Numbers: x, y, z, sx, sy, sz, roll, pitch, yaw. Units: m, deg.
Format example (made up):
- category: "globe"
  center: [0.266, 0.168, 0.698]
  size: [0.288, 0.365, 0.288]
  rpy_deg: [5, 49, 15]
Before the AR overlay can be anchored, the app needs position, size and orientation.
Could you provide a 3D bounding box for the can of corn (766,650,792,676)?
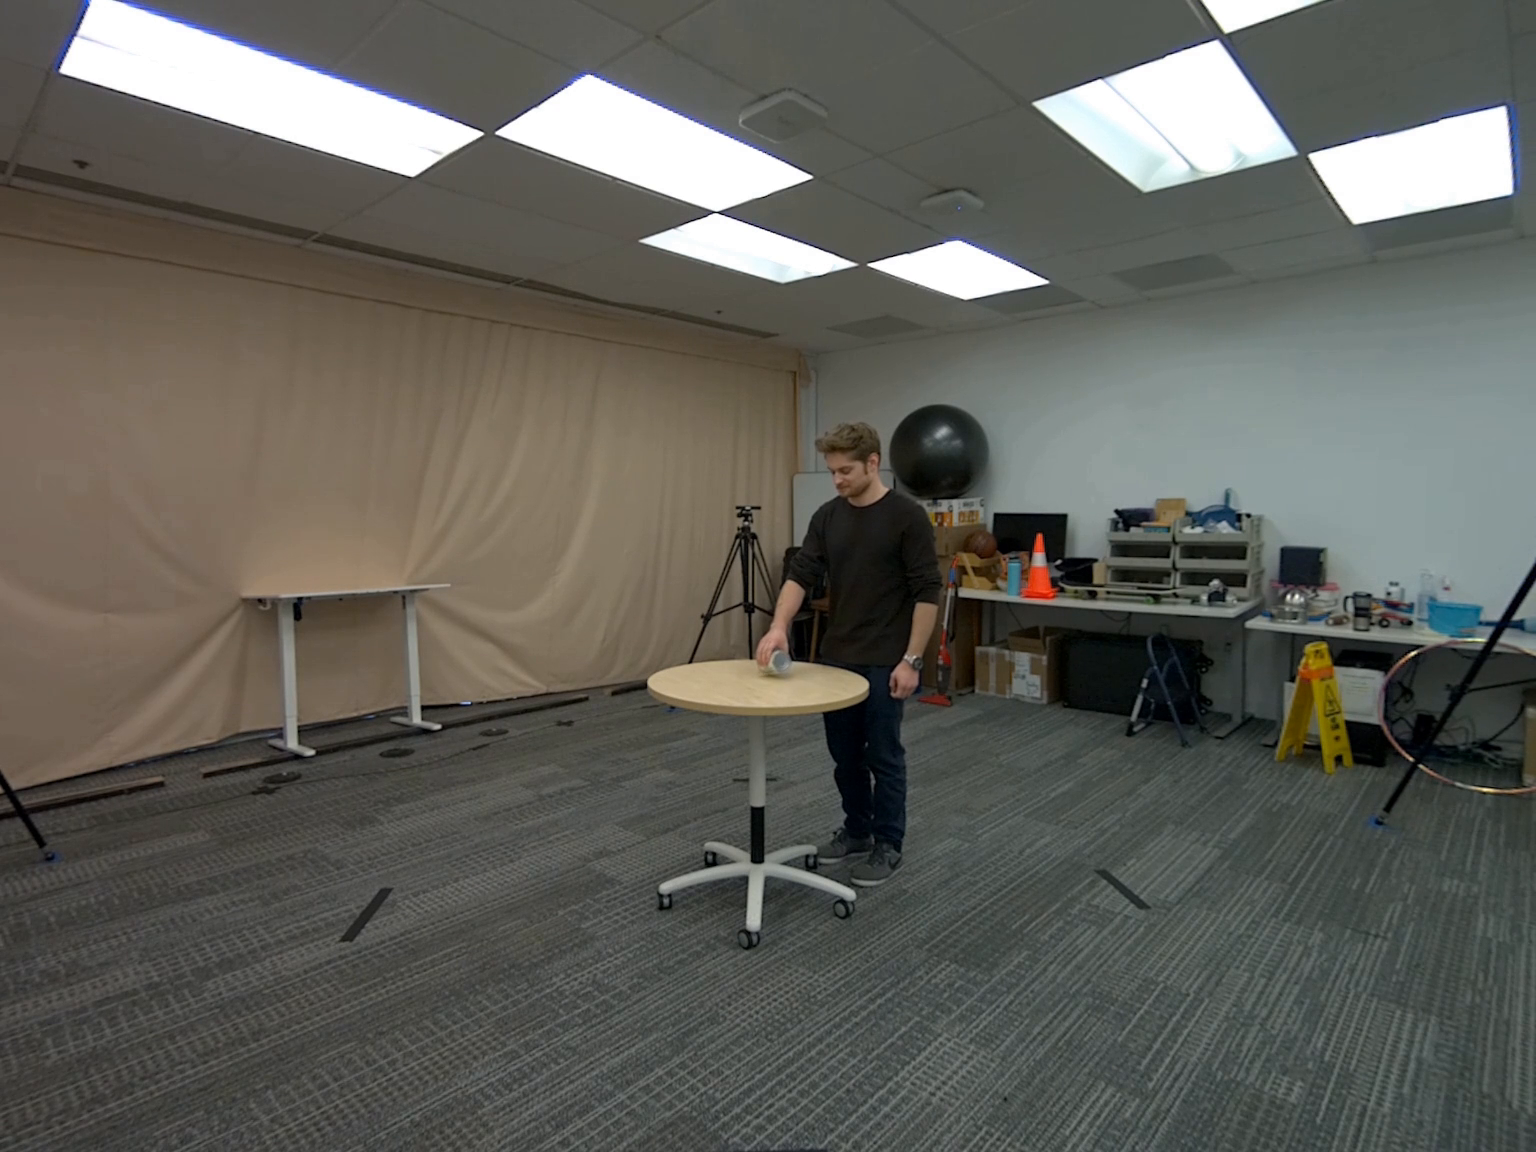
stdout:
- category: "can of corn"
  center: [0.025, 0.307, 2.989]
  size: [0.073, 0.075, 0.111]
  rpy_deg: [-1, -10, -11]
